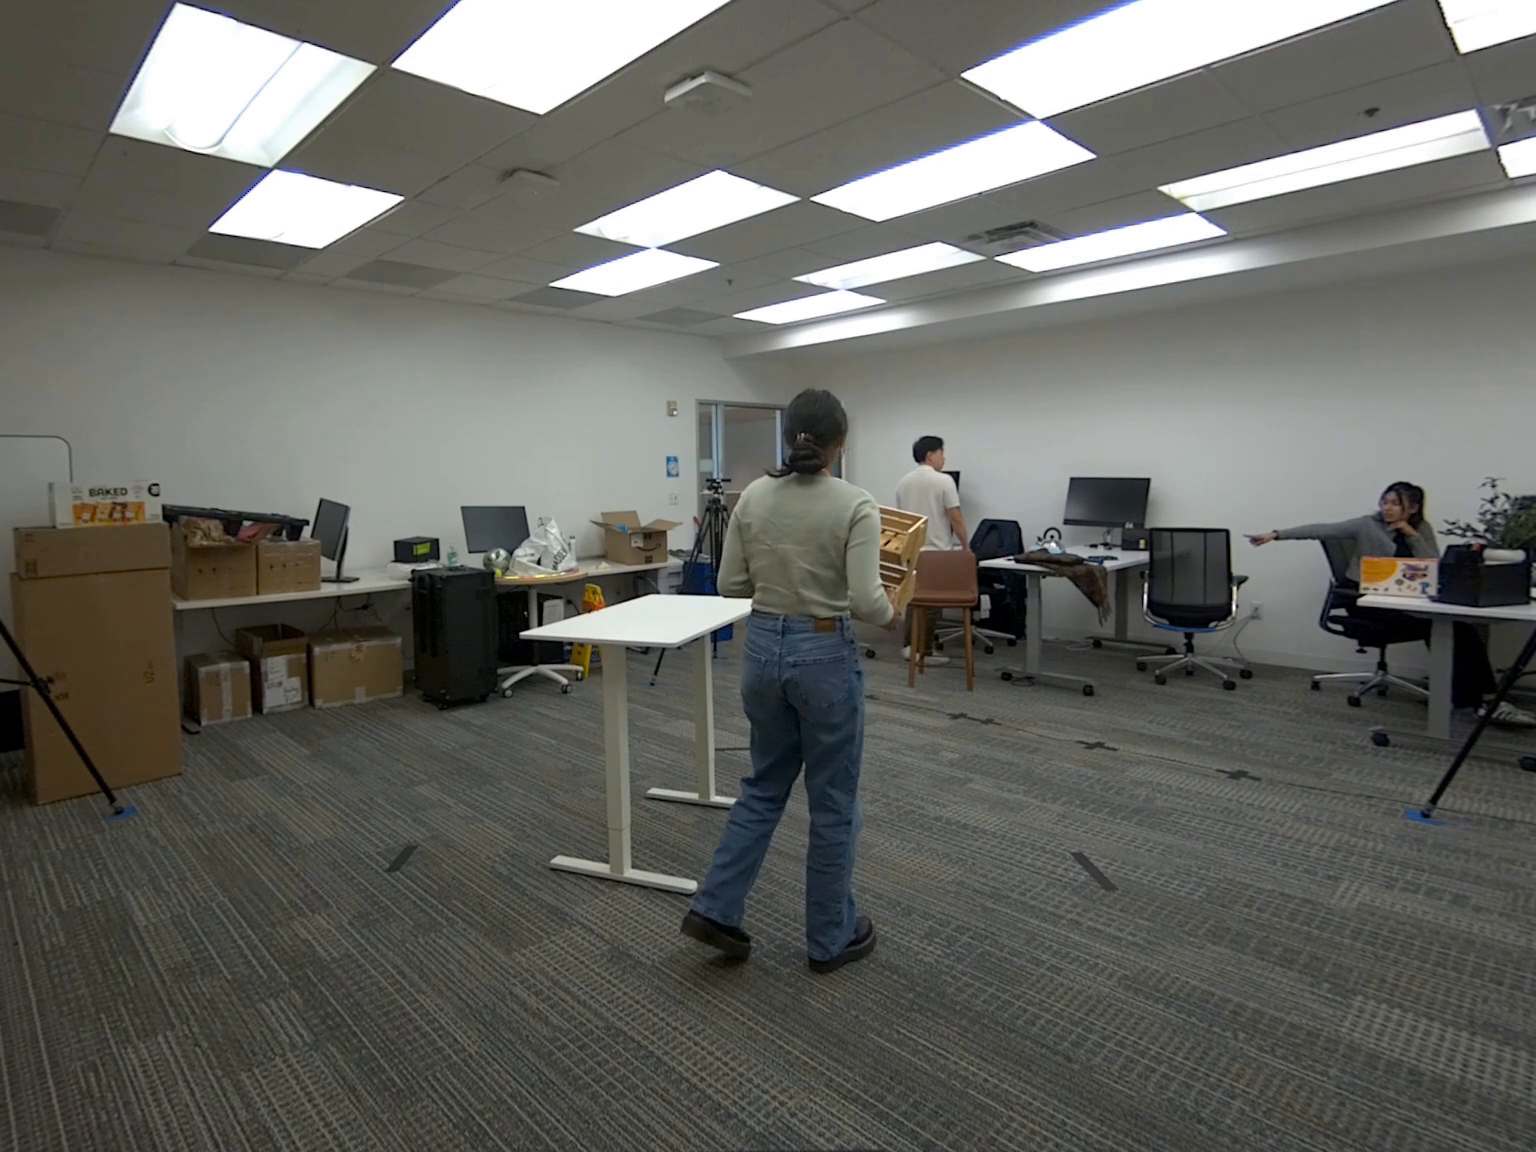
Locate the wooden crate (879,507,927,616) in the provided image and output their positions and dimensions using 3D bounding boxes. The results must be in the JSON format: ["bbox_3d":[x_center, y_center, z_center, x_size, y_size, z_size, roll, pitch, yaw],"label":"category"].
[{"bbox_3d":[0.282,-0.052,2.638,0.334,0.268,0.299,16,29,28],"label":"wooden crate"}]
